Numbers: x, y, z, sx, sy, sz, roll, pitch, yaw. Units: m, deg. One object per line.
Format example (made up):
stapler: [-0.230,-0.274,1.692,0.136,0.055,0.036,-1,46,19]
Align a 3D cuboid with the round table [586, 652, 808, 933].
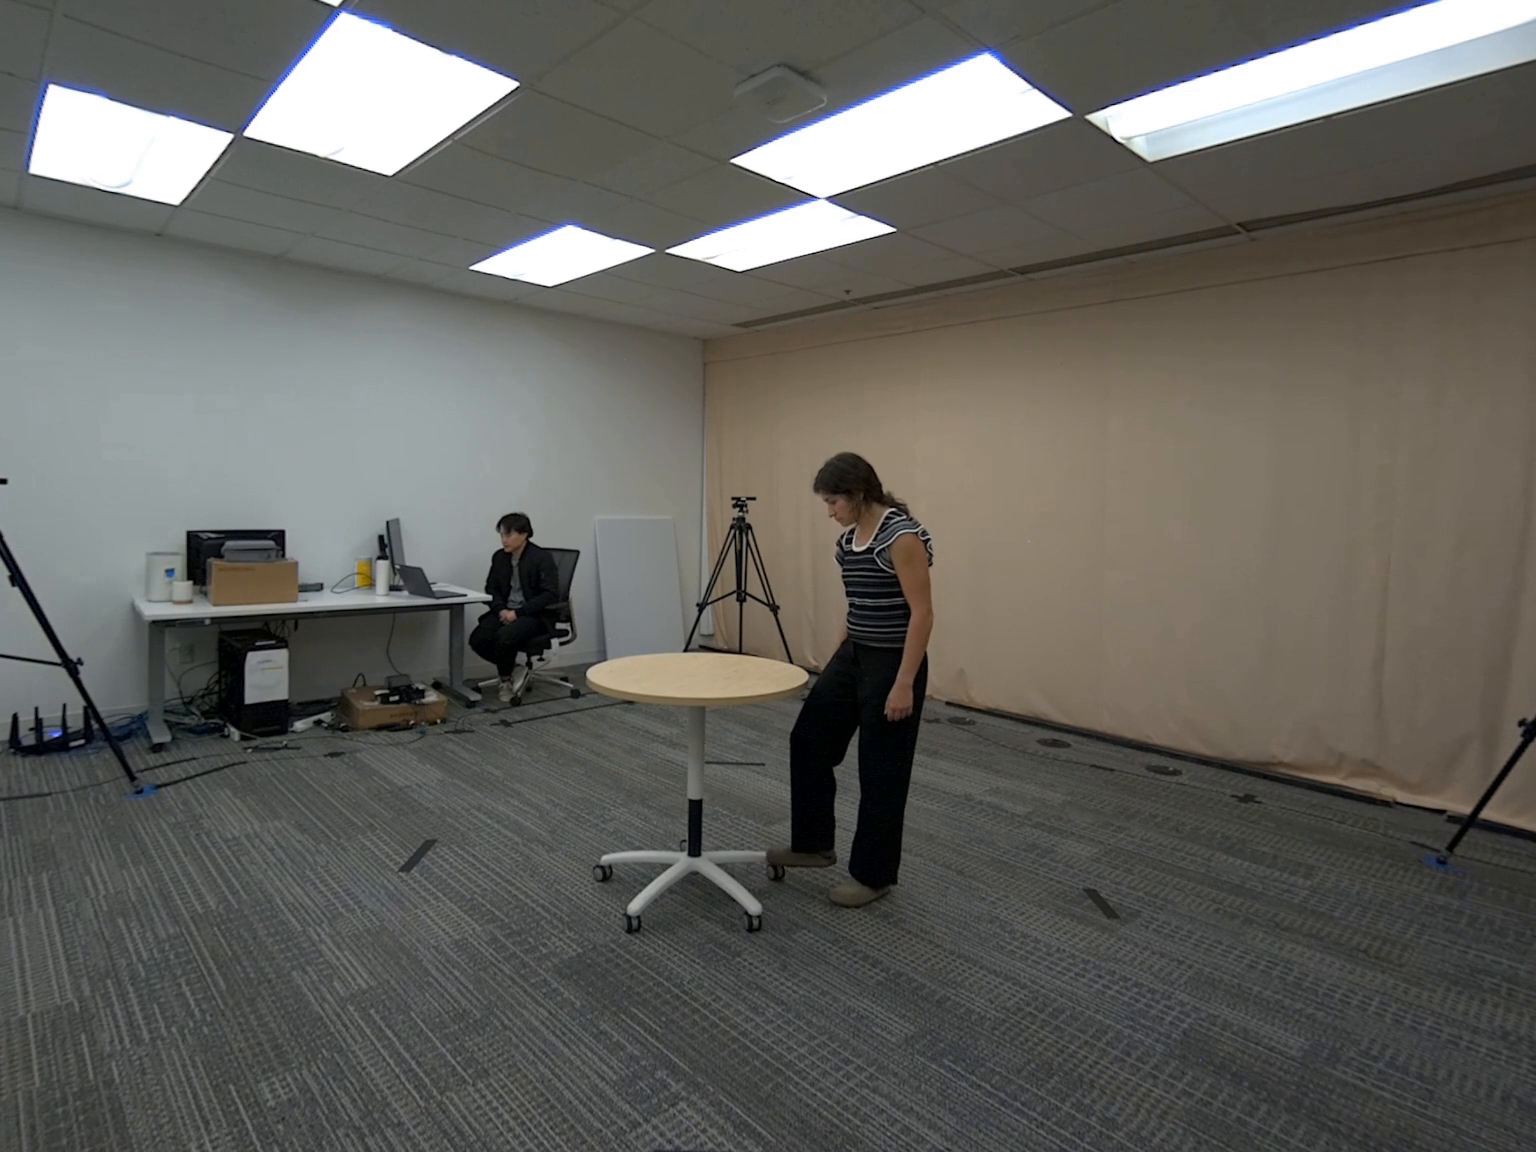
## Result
round table: [-0.255,0.723,2.924,0.784,0.784,0.787,1,4,-1]
